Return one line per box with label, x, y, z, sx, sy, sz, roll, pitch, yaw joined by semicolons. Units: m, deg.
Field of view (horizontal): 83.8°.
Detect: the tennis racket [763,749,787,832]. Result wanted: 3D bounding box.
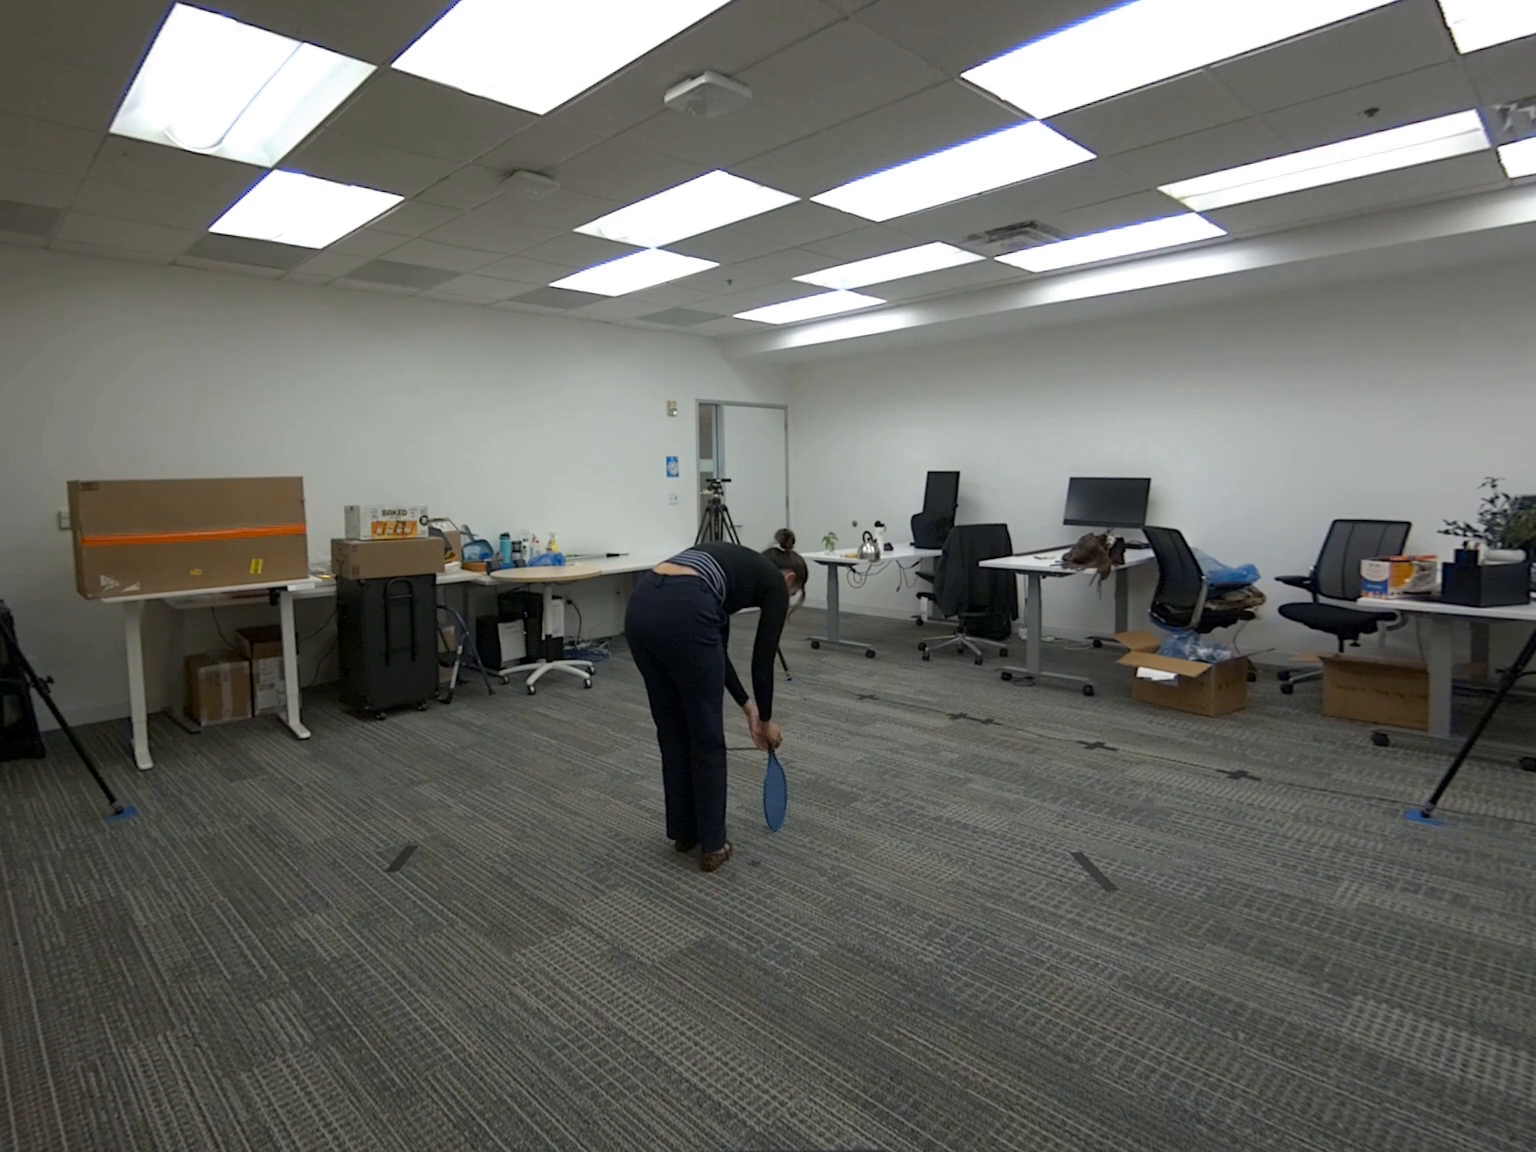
tennis racket;0.026;0.794;3.389;0.032;0.430;0.211;-4;7;23
